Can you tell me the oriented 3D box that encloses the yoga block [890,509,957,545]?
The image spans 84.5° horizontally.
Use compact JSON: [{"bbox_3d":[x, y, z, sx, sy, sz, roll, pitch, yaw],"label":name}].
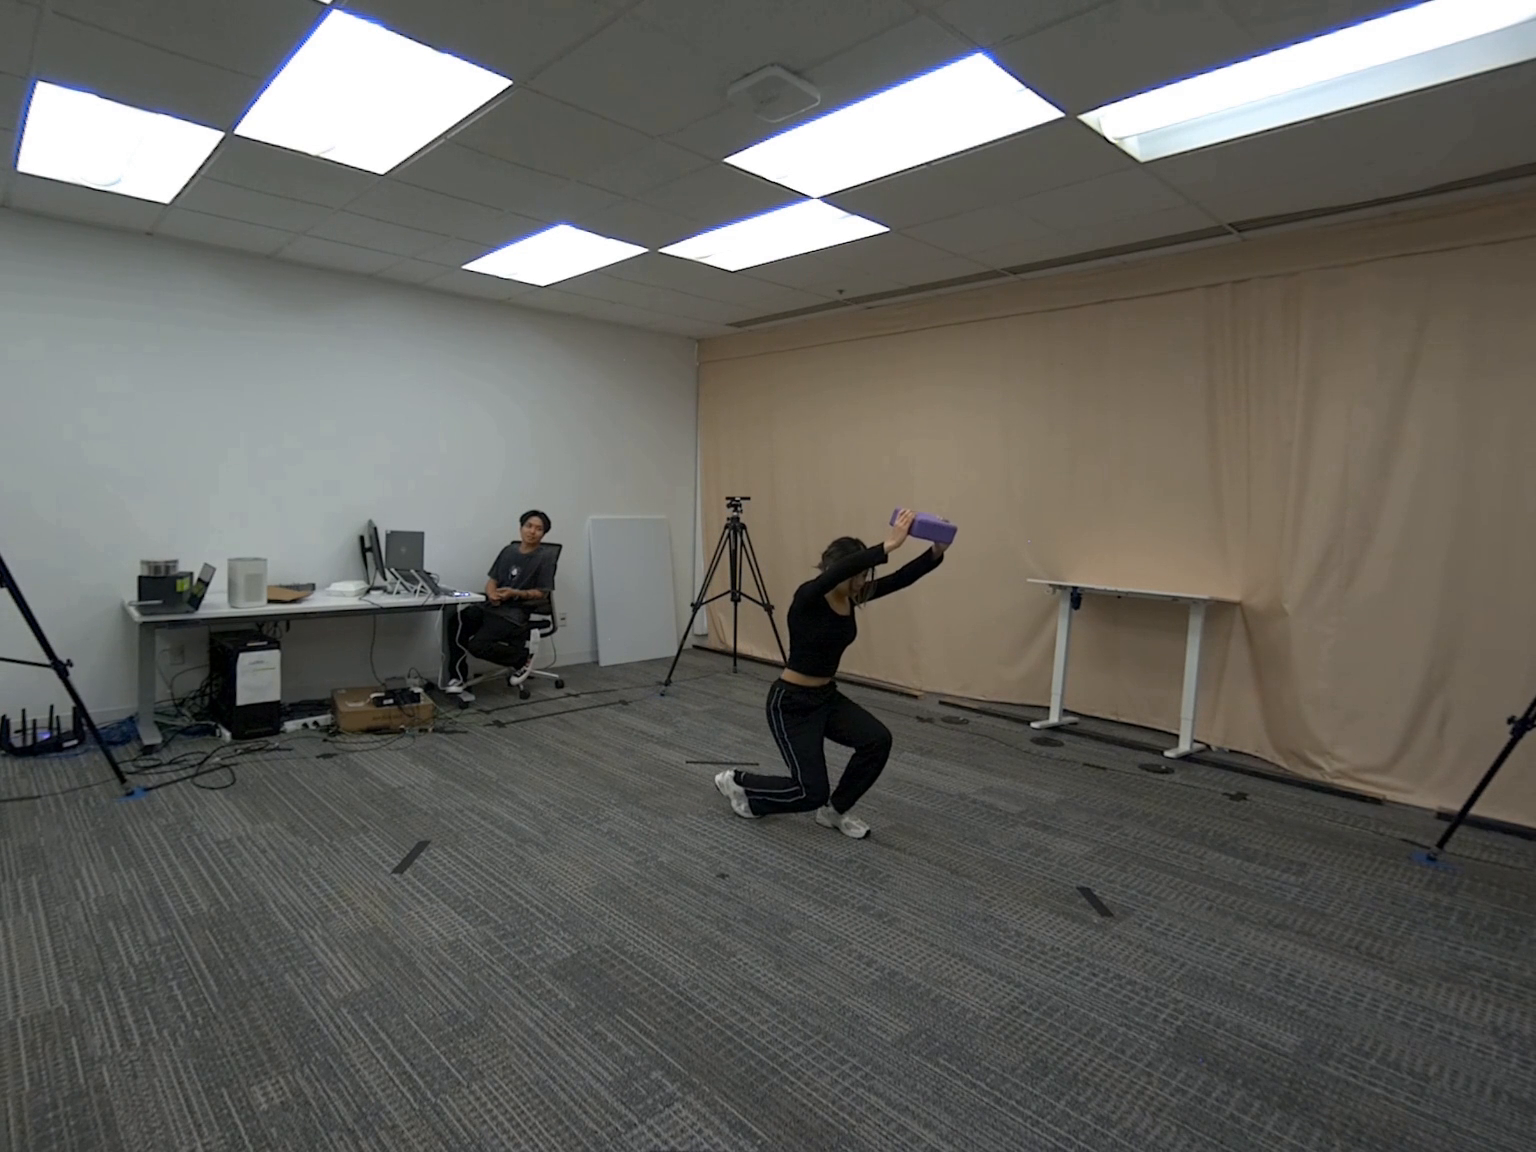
[{"bbox_3d":[0.597,-0.198,3.266,0.223,0.076,0.154,8,18,-38],"label":"yoga block"}]
